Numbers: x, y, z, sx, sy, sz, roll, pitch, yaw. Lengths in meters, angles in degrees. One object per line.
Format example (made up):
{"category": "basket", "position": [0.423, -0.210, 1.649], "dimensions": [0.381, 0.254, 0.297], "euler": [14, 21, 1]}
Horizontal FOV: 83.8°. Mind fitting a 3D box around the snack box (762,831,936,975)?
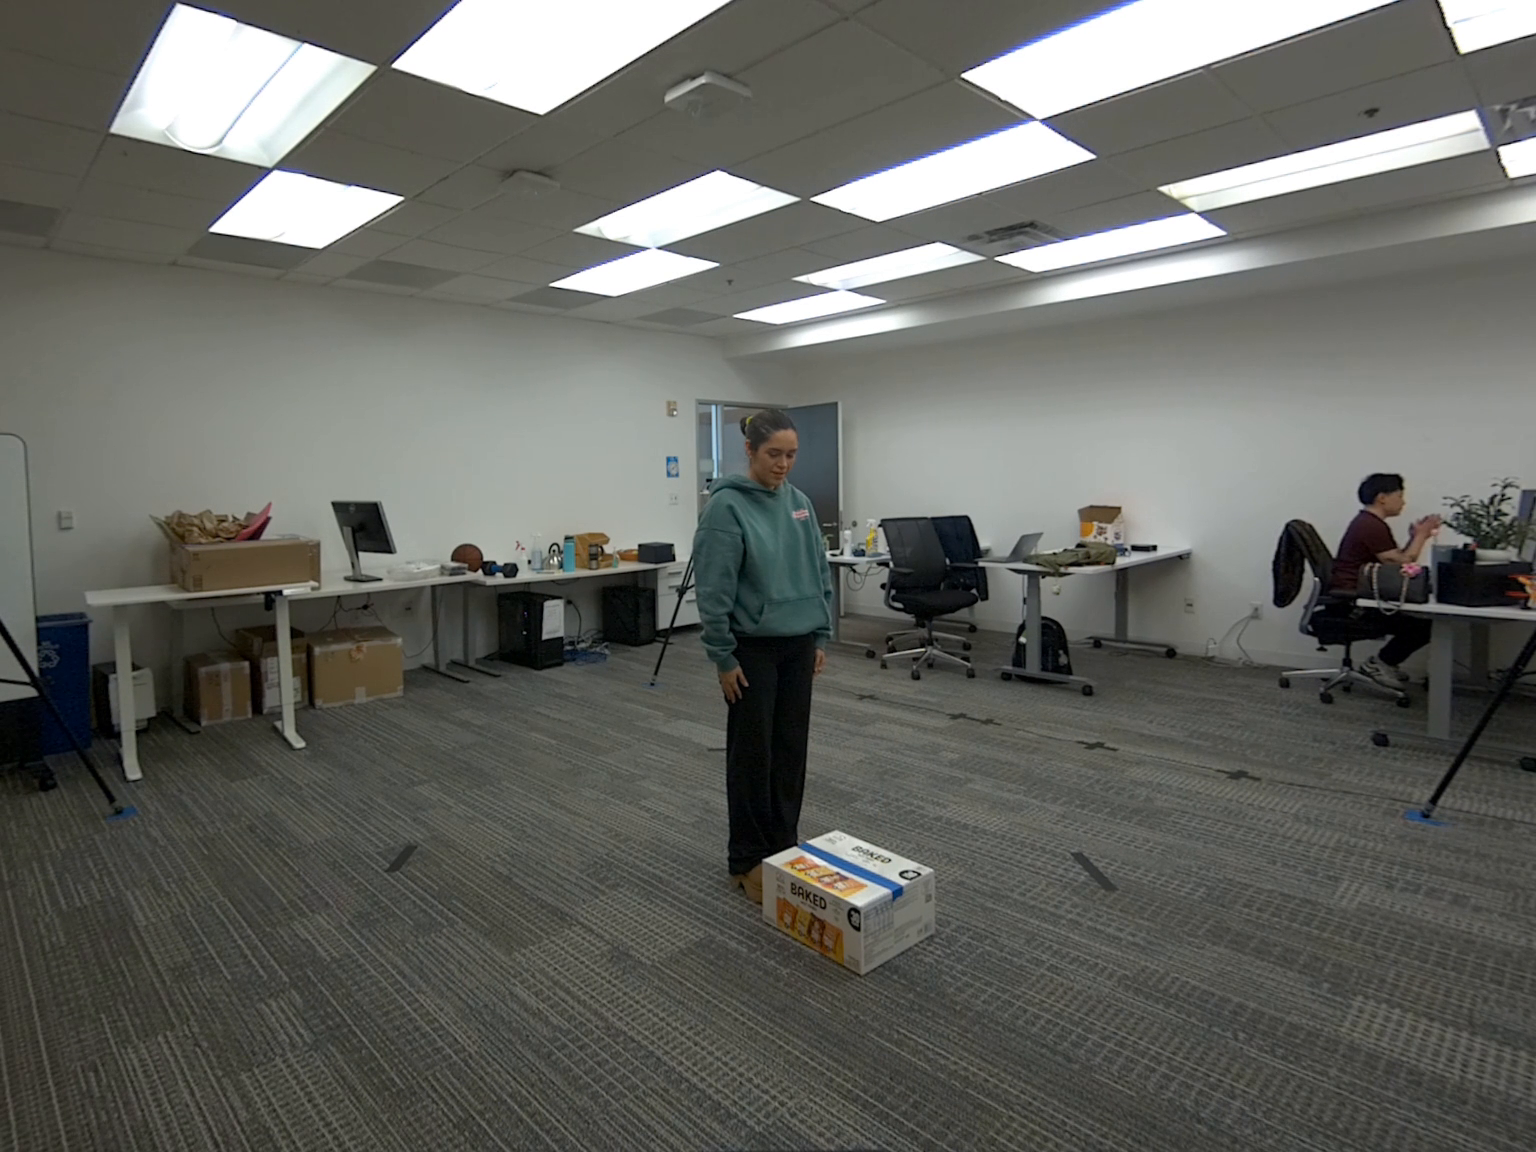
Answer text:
{"category": "snack box", "position": [0.252, 0.994, 2.635], "dimensions": [0.331, 0.205, 0.418], "euler": [-7, 8, -41]}
